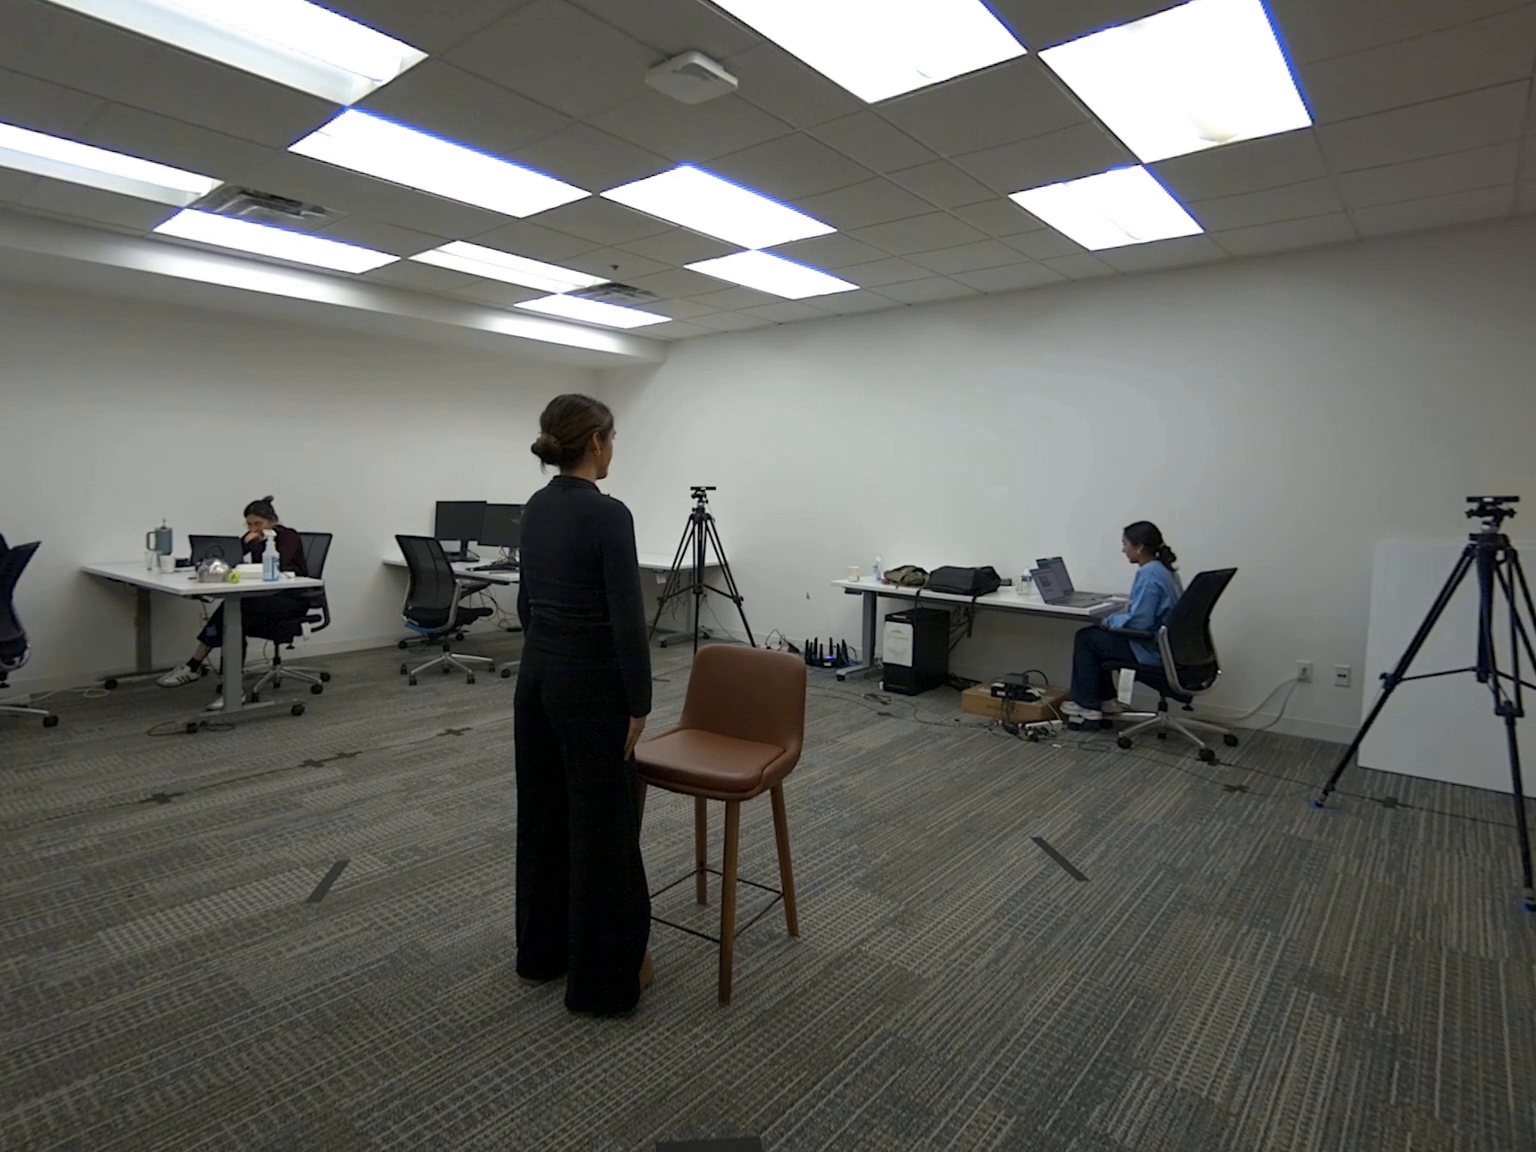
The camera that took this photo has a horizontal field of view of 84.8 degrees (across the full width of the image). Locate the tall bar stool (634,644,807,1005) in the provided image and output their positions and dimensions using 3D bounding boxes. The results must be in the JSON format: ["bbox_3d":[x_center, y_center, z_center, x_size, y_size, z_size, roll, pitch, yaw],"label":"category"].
[{"bbox_3d":[-0.168,0.687,2.548,0.470,0.888,0.455,3,3,32],"label":"tall bar stool"}]
